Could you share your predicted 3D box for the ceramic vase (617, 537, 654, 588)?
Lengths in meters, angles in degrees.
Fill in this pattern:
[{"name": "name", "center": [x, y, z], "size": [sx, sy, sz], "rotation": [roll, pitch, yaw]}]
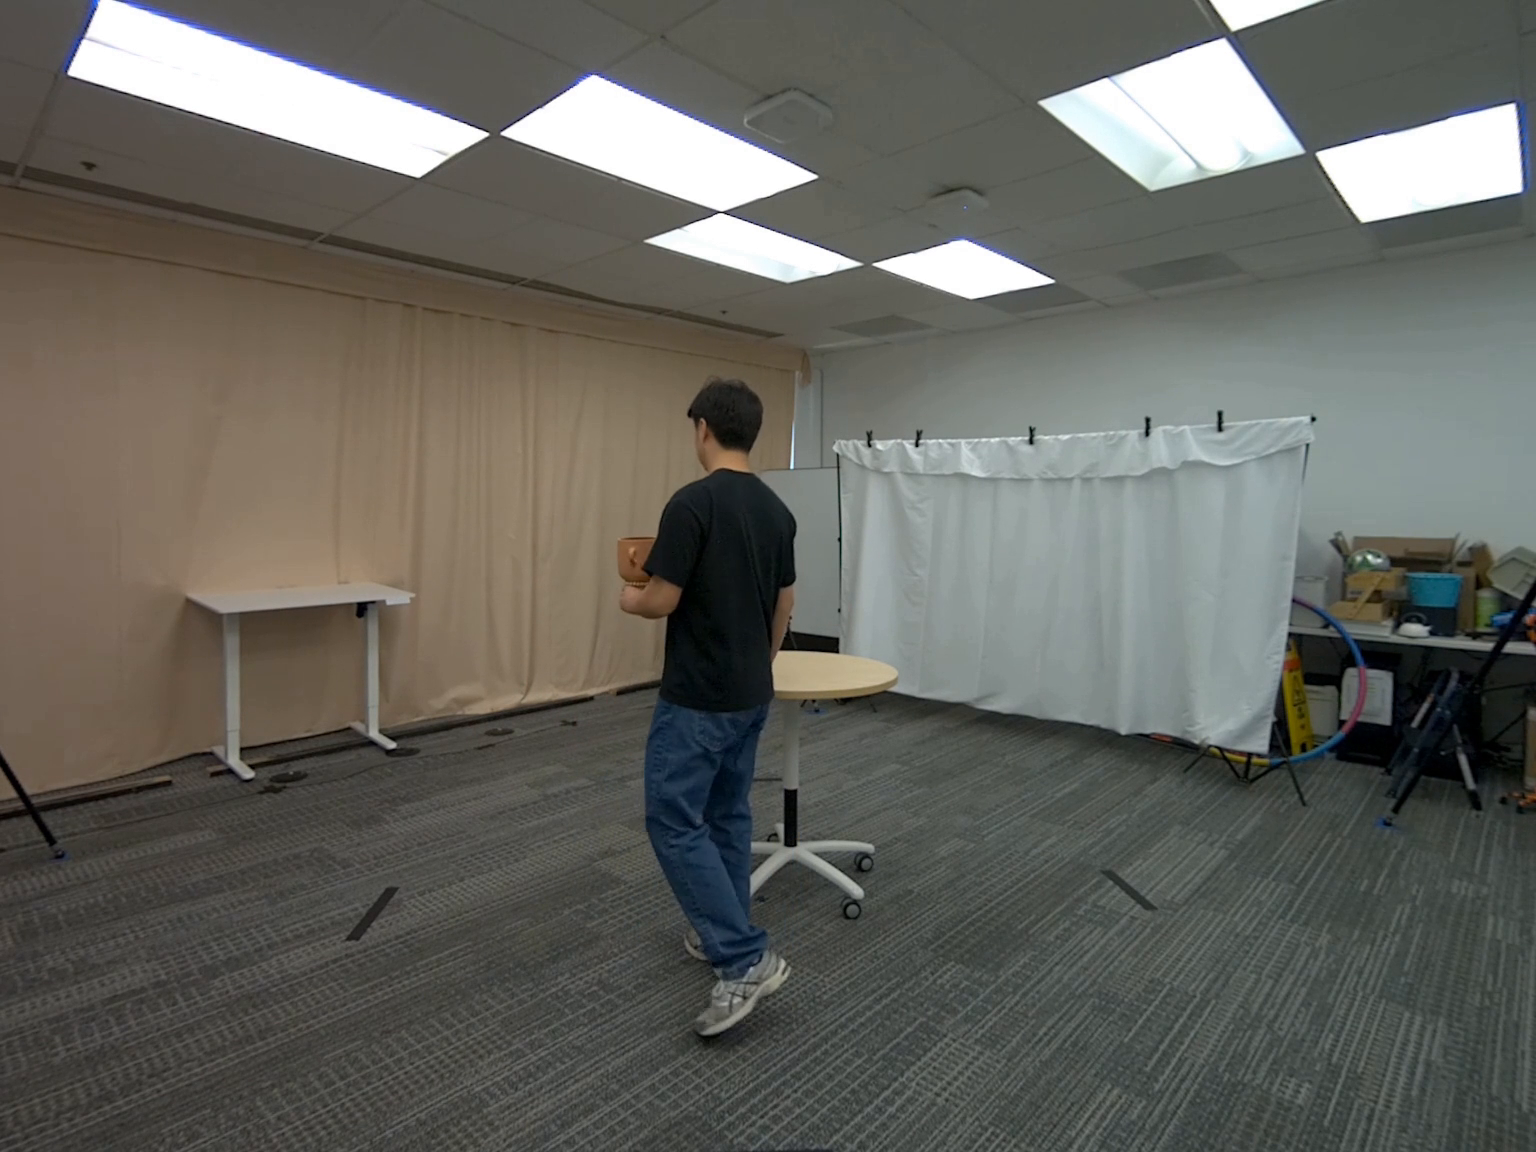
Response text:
[{"name": "ceramic vase", "center": [-0.392, -0.007, 2.627], "size": [0.154, 0.219, 0.139], "rotation": [-5, 4, -45]}]
